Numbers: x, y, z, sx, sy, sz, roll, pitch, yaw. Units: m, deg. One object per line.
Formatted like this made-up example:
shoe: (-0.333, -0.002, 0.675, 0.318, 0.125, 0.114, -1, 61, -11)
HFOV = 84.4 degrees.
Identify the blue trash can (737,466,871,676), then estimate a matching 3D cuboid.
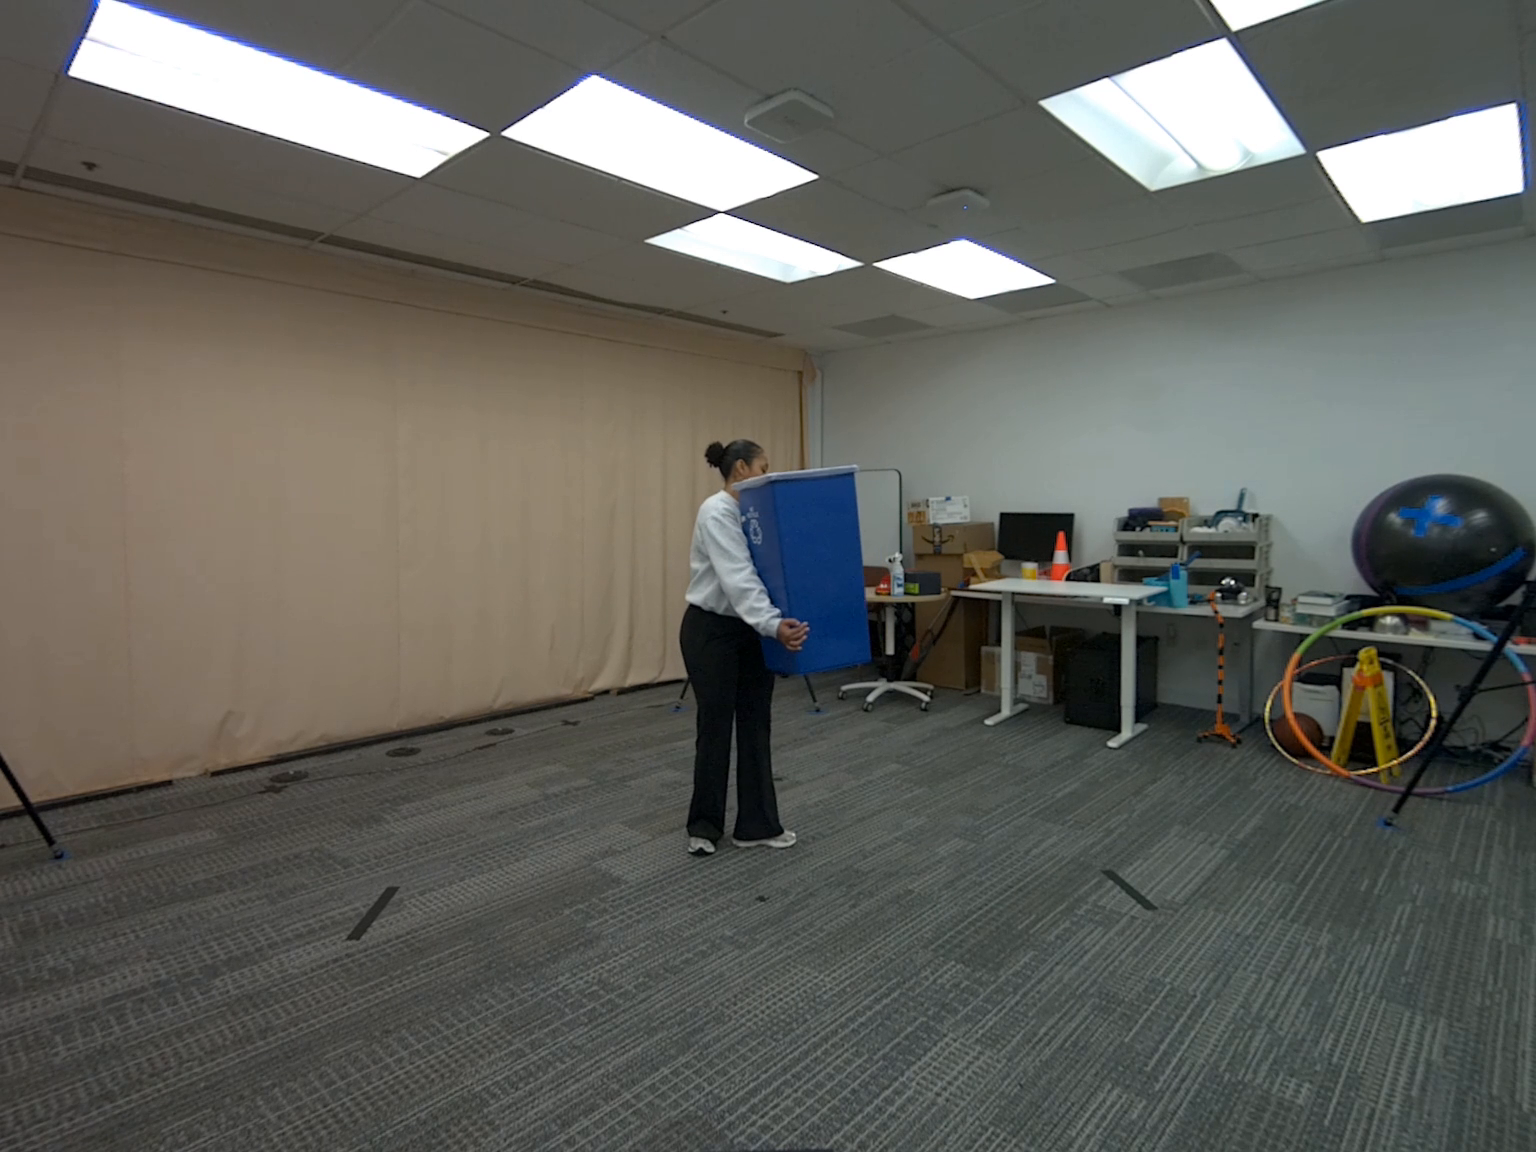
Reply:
blue trash can: (0.131, -0.023, 3.137, 0.365, 0.713, 0.387, -8, 1, -26)
